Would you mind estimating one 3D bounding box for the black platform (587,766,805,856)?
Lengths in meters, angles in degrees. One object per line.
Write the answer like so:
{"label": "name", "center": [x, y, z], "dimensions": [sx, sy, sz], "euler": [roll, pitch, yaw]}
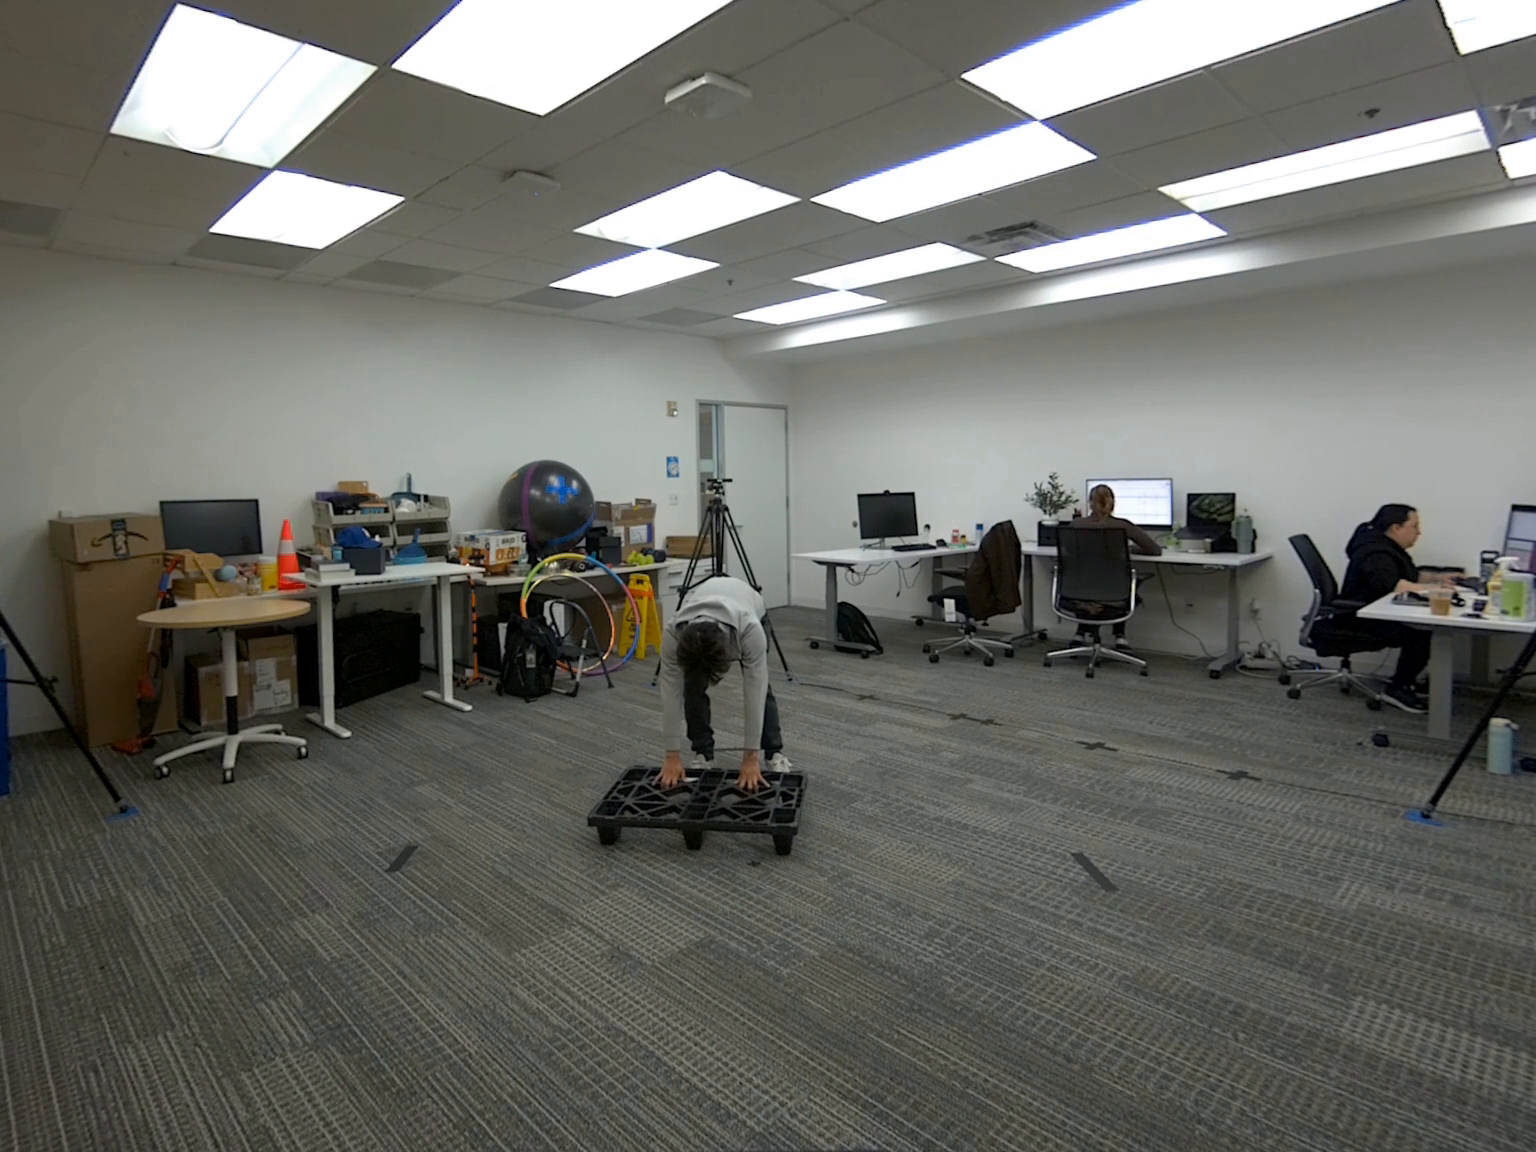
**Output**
{"label": "black platform", "center": [-0.257, 0.937, 3.457], "dimensions": [0.813, 0.143, 0.602], "euler": [0, 5, 8]}
